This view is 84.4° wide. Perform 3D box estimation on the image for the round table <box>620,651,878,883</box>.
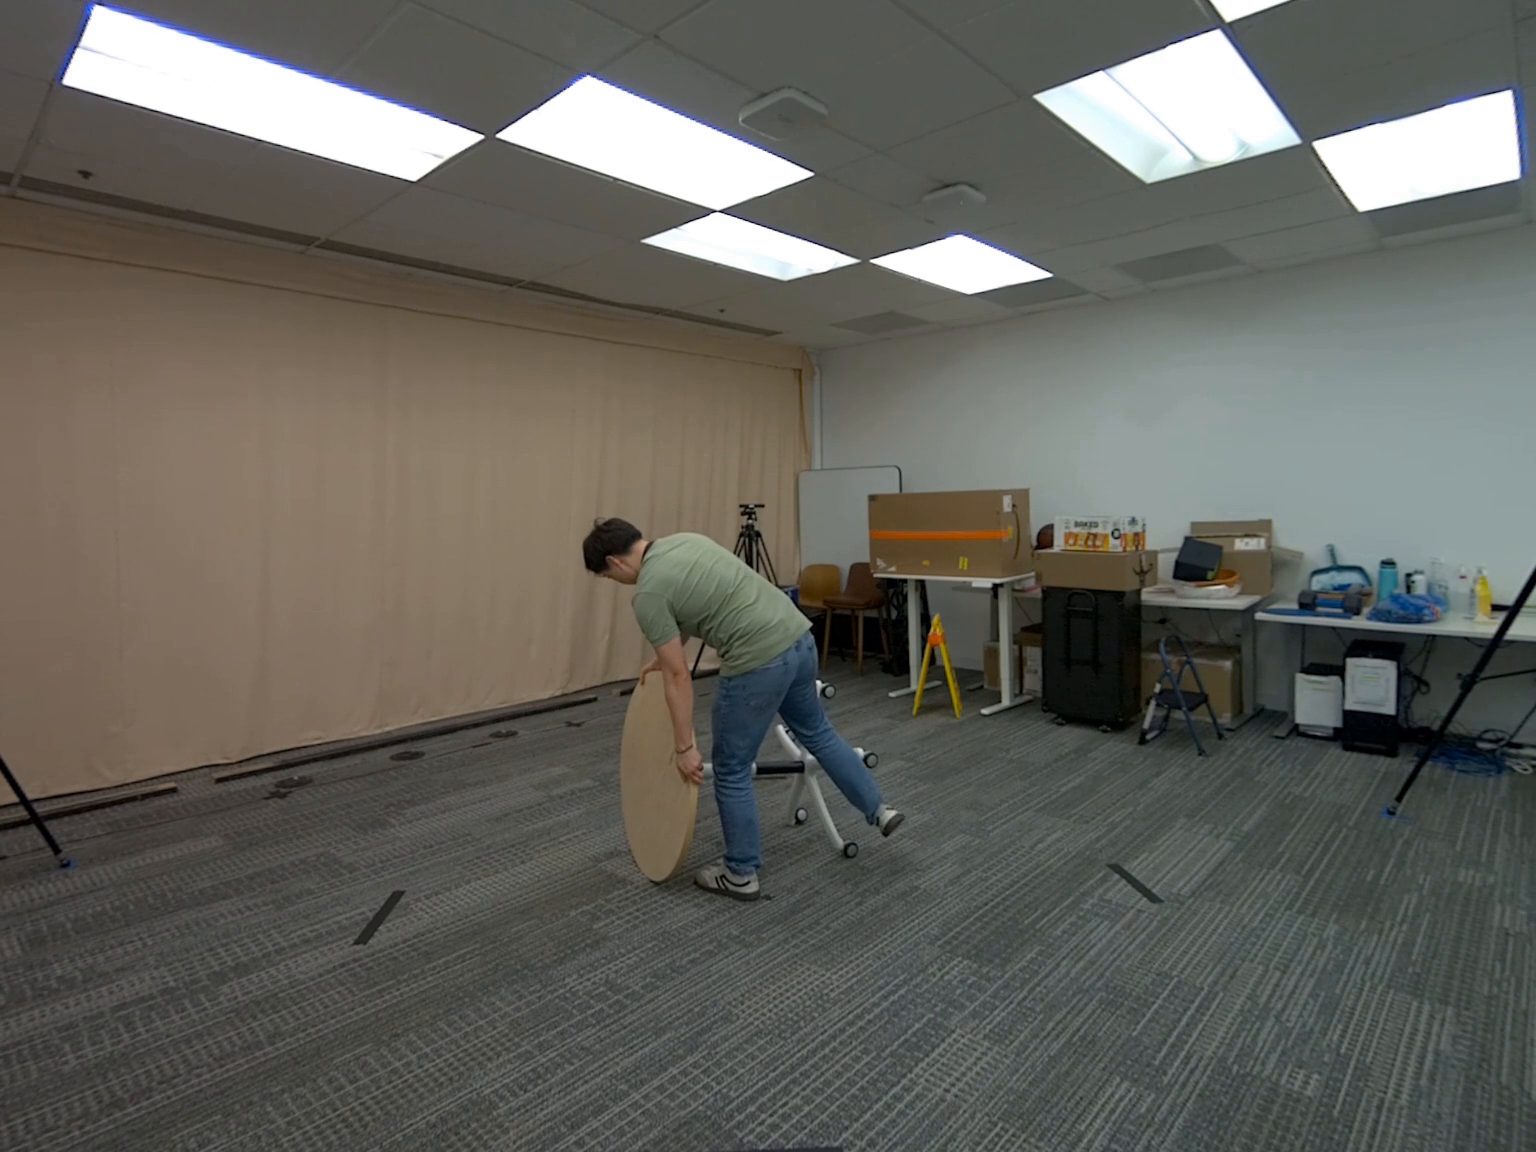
[{"bbox_3d":[-0.090,0.778,3.366,0.774,0.763,0.784,5,1,-26],"label":"round table"}]
